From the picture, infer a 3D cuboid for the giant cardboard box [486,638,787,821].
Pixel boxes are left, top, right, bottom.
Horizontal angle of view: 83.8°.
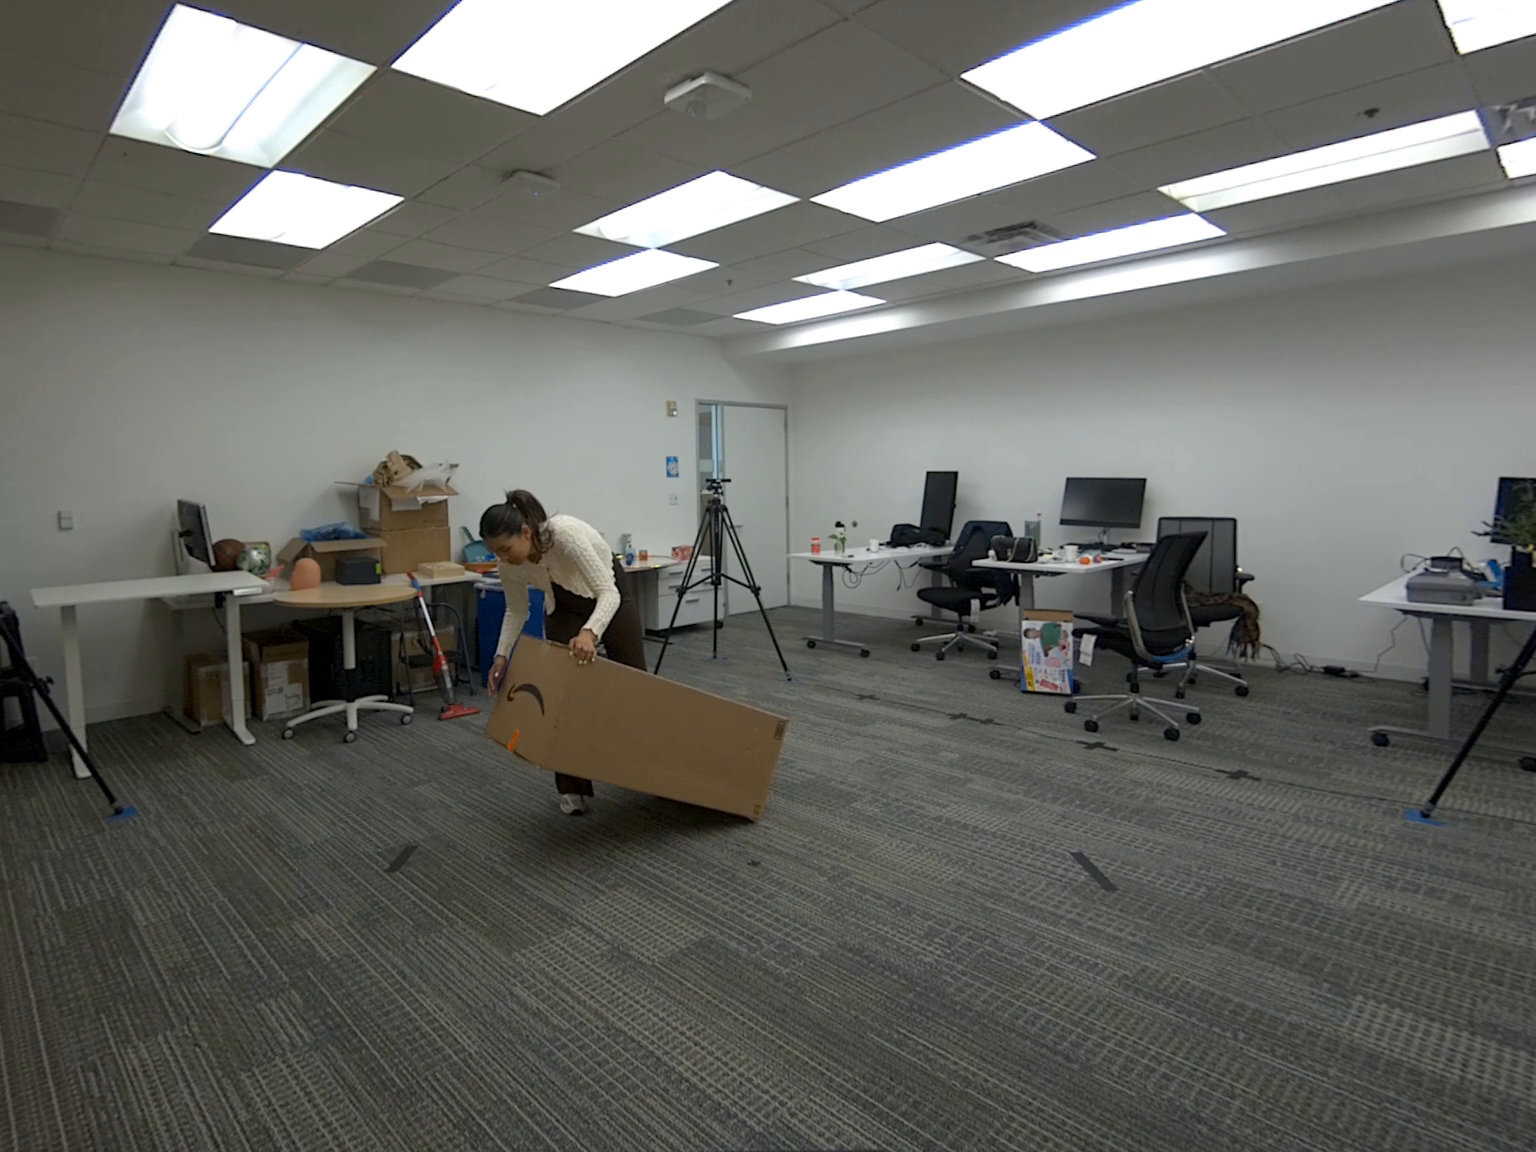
[{"bbox_3d":[-0.520,0.617,3.464,0.991,0.428,0.594,24,-11,-33],"label":"giant cardboard box"}]
